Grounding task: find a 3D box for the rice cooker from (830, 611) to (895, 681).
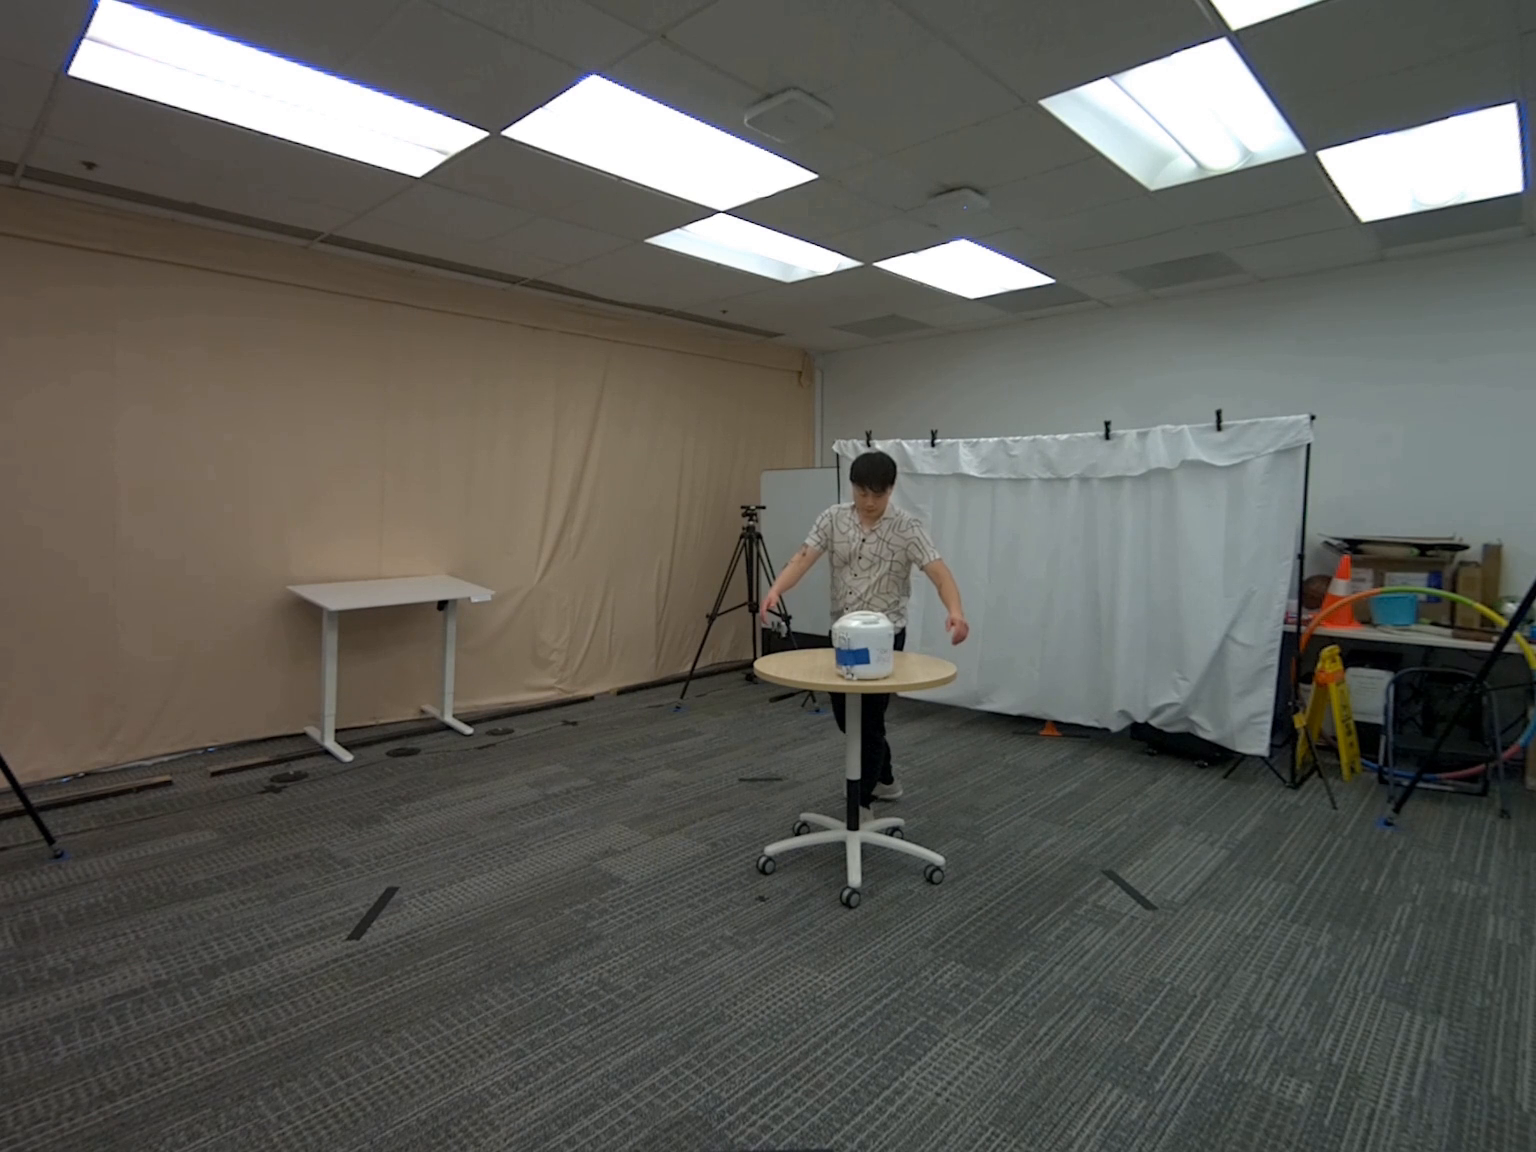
[{"bbox_3d":[0.343,0.240,3.007,0.220,0.232,0.219,-1,5,-4],"label":"rice cooker"}]
